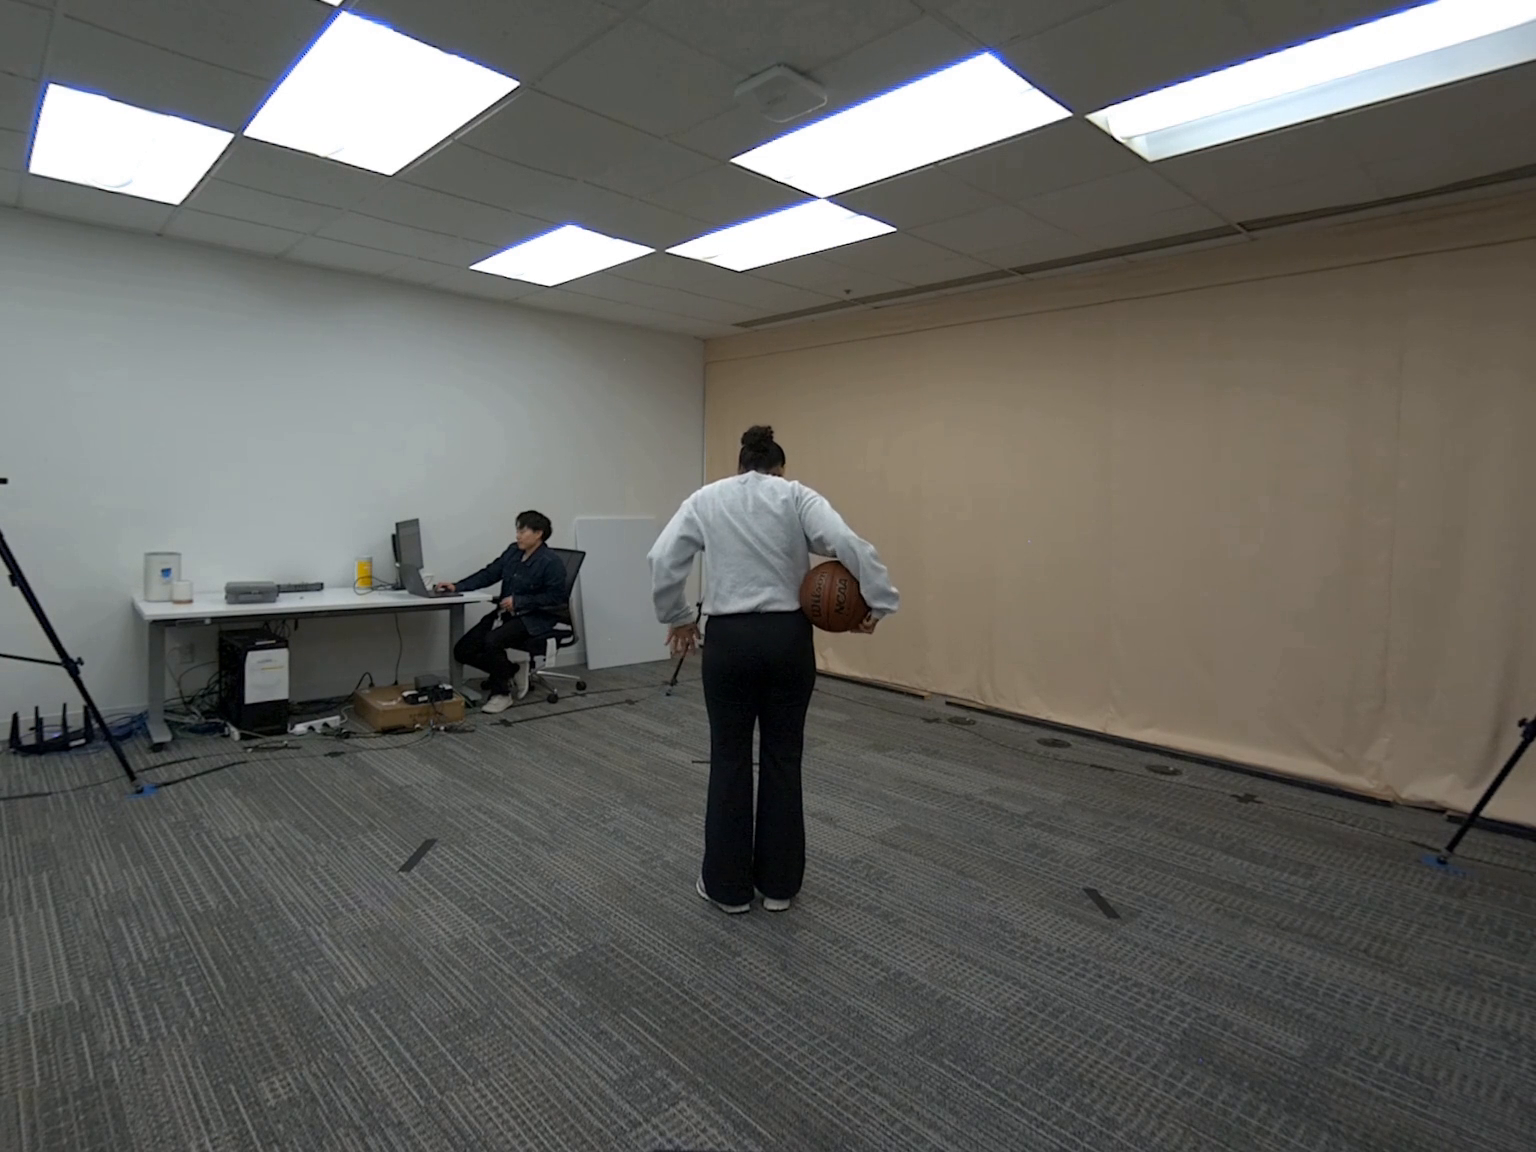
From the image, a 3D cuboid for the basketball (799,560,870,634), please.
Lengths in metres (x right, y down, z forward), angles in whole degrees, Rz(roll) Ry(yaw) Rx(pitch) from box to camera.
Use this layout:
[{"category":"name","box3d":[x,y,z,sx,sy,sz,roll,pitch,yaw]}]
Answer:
[{"category":"basketball","box3d":[0.219,0.061,2.766,0.236,0.235,0.237,1,4,-1]}]
